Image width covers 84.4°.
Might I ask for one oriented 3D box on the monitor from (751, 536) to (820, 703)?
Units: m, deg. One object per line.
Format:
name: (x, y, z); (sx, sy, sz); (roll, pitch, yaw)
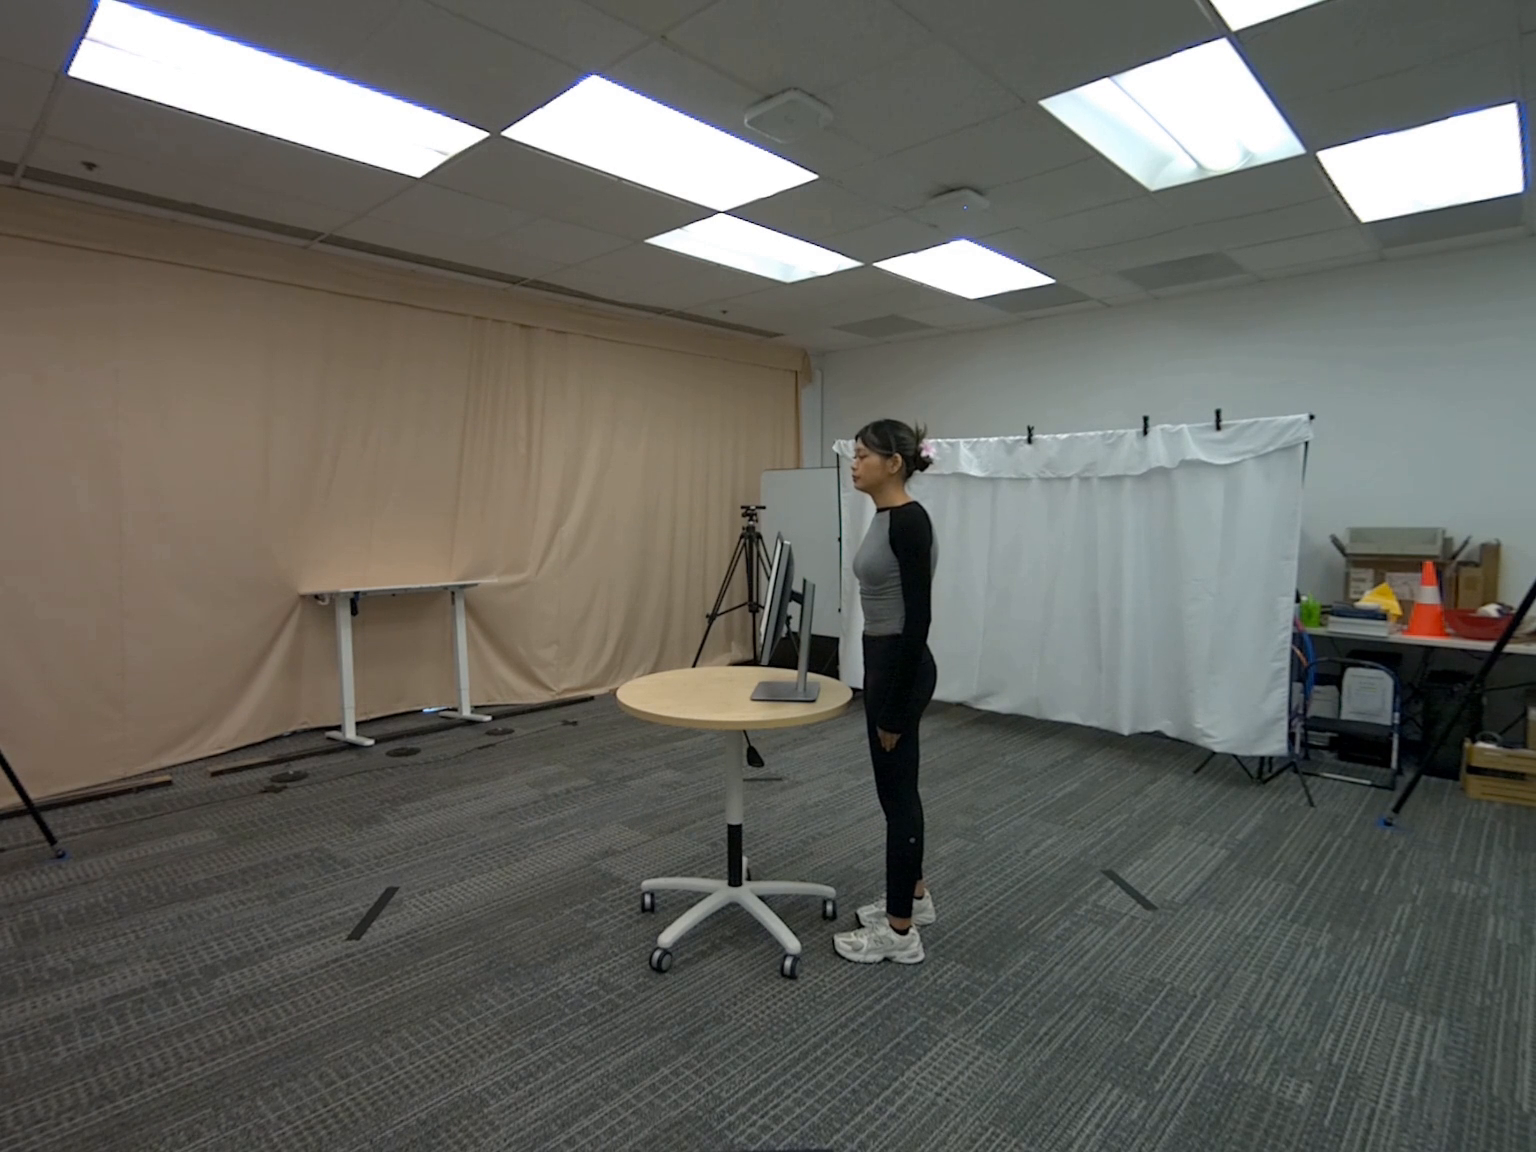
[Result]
monitor: (0.065, 0.131, 2.692); (0.187, 0.521, 0.540); (-1, 4, -2)
